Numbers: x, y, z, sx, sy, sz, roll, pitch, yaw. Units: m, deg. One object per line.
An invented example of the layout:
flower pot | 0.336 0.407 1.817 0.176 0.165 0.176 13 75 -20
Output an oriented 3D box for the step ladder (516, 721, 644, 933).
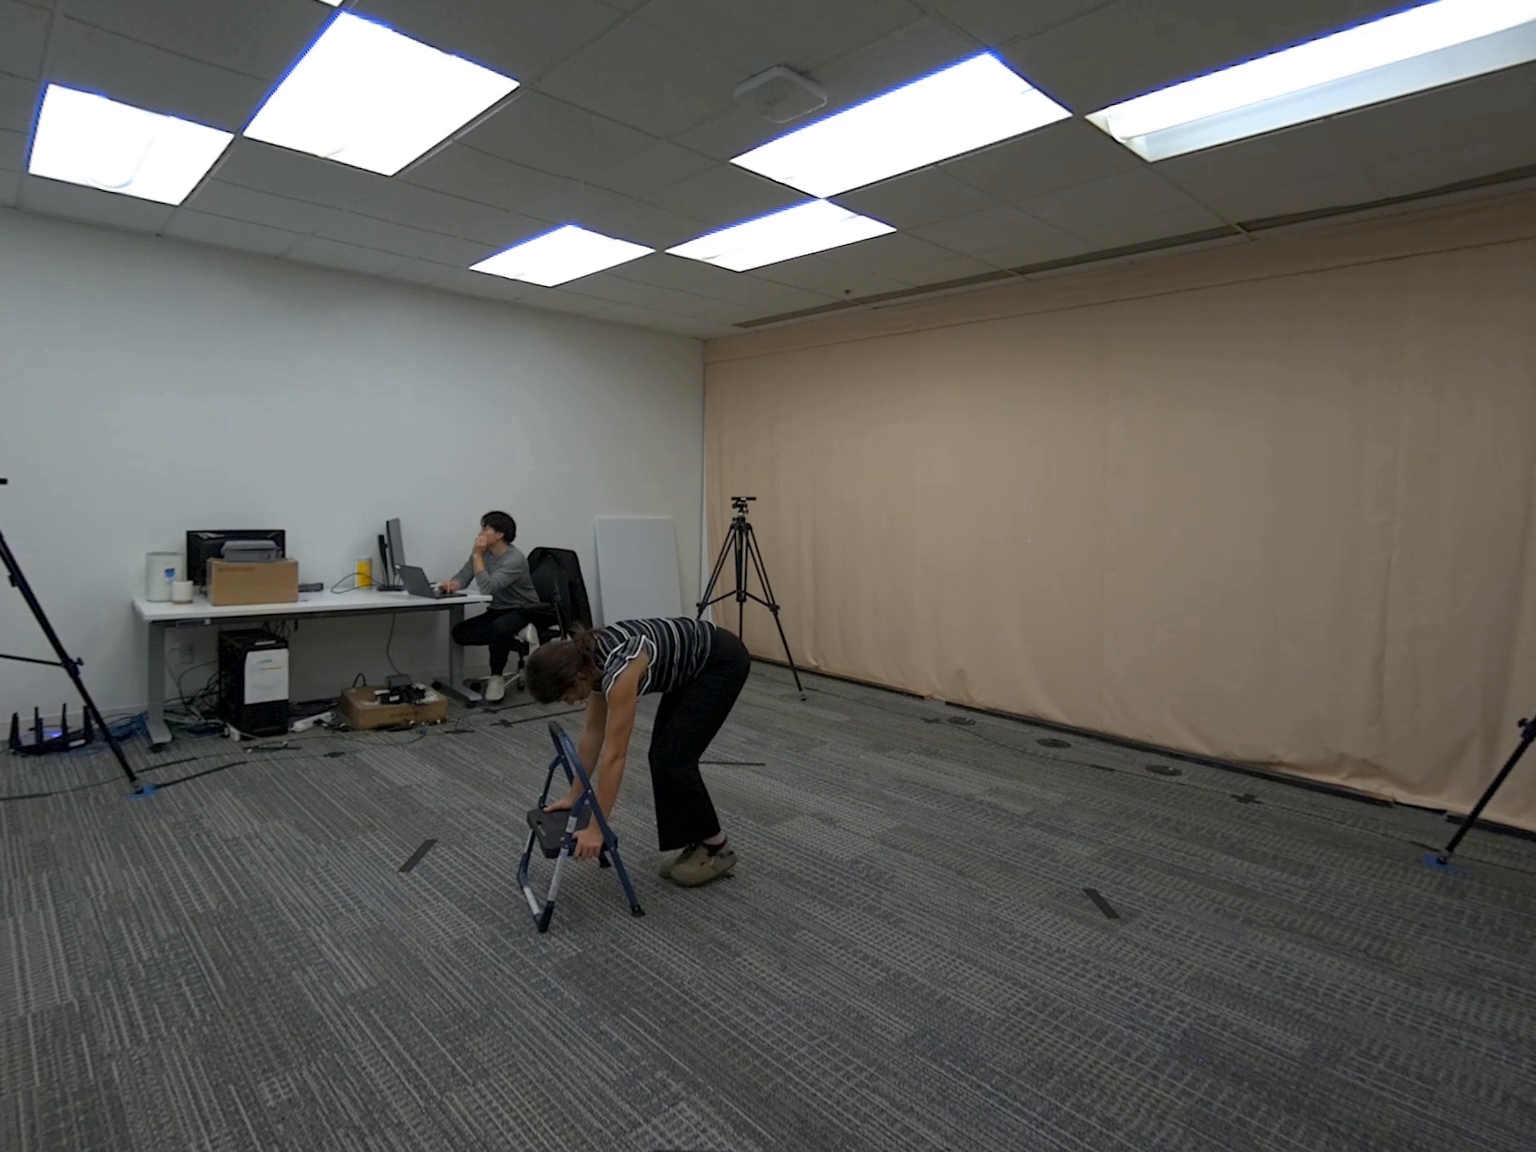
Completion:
step ladder | -0.661 0.816 2.899 0.343 0.604 0.440 0 4 -26
